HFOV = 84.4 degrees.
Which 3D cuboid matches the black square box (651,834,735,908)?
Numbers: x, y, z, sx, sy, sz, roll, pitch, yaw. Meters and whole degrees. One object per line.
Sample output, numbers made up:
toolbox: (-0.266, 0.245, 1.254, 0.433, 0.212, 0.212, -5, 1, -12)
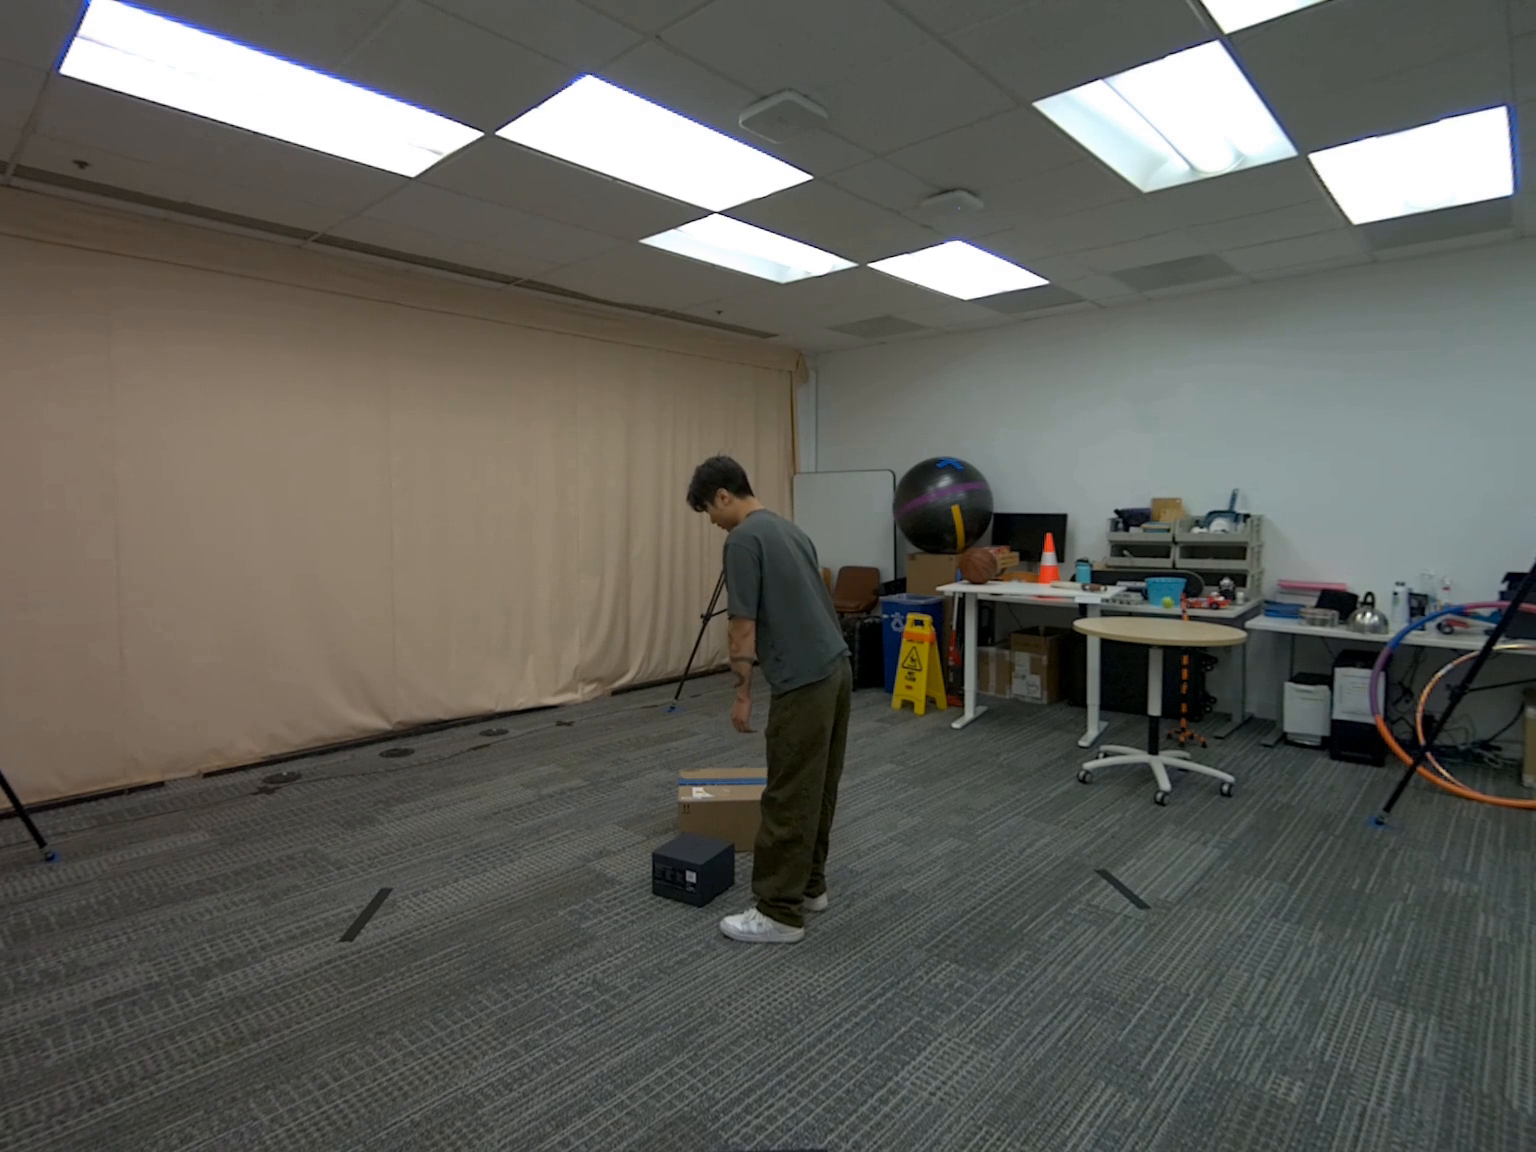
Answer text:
black square box: (-0.264, 1.053, 3.054, 0.223, 0.155, 0.222, 1, 5, 30)
